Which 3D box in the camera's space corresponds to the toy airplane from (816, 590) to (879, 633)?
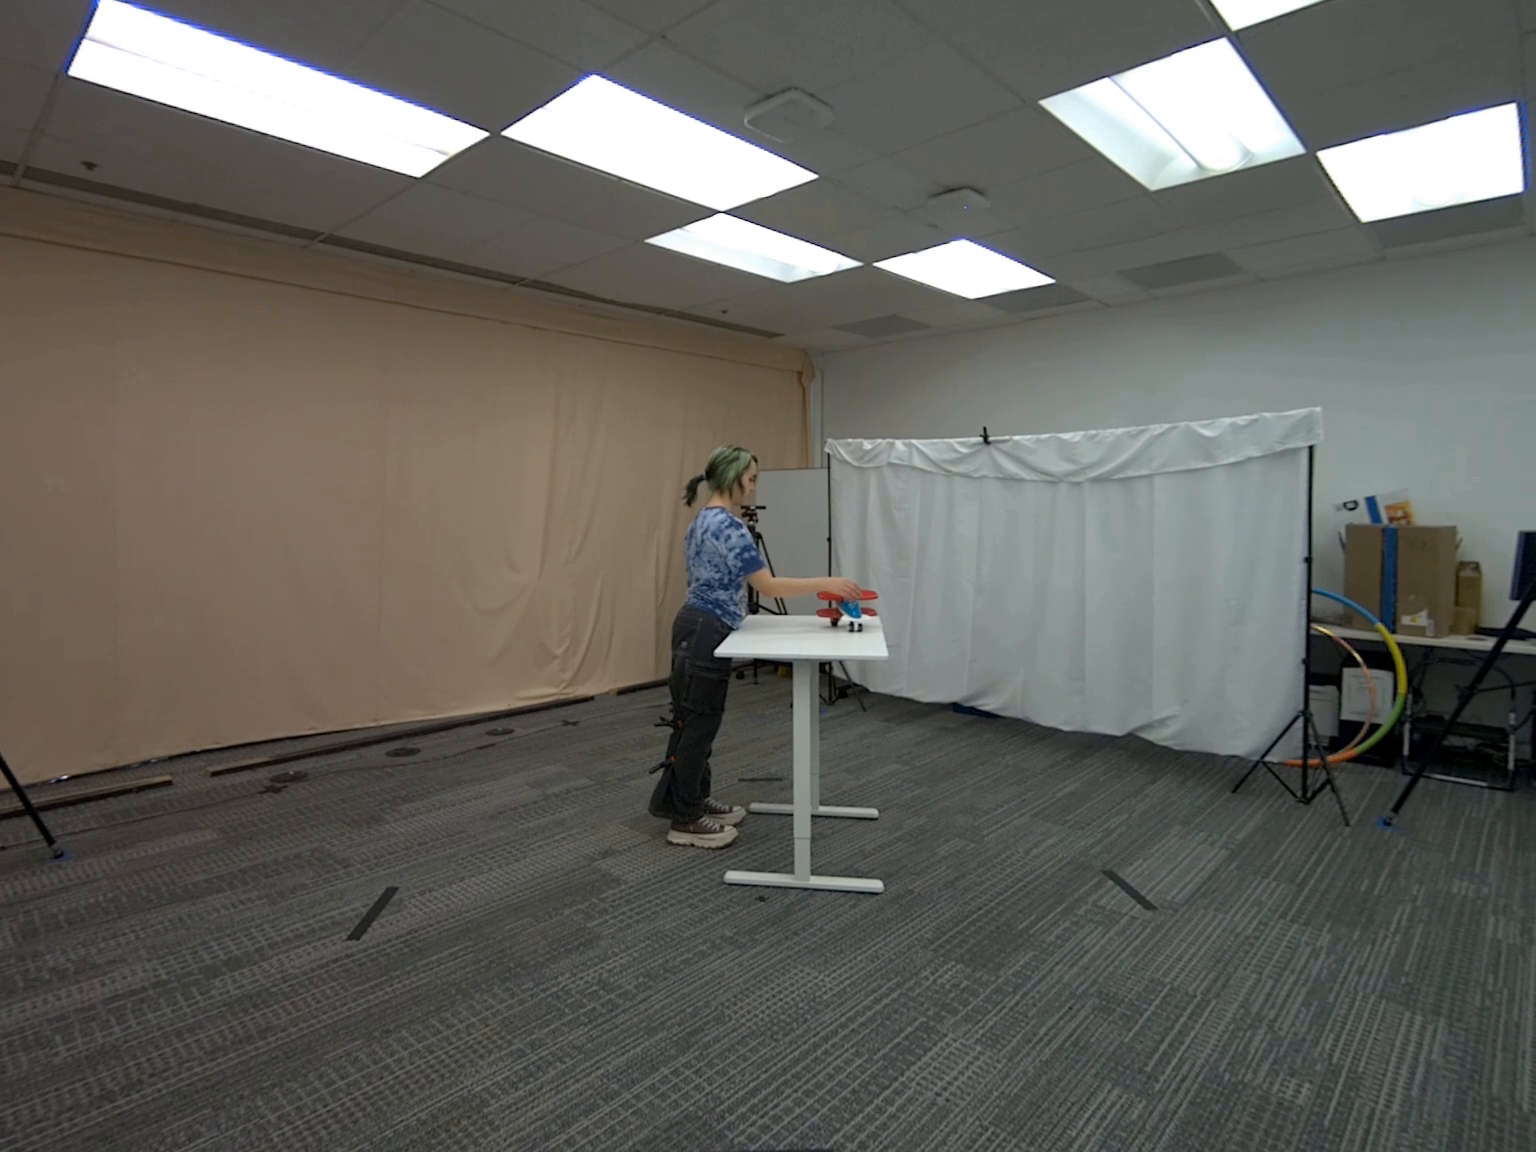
[{"bbox_3d":[0.358,0.141,3.479,0.244,0.156,0.267,-2,4,-33],"label":"toy airplane"}]
